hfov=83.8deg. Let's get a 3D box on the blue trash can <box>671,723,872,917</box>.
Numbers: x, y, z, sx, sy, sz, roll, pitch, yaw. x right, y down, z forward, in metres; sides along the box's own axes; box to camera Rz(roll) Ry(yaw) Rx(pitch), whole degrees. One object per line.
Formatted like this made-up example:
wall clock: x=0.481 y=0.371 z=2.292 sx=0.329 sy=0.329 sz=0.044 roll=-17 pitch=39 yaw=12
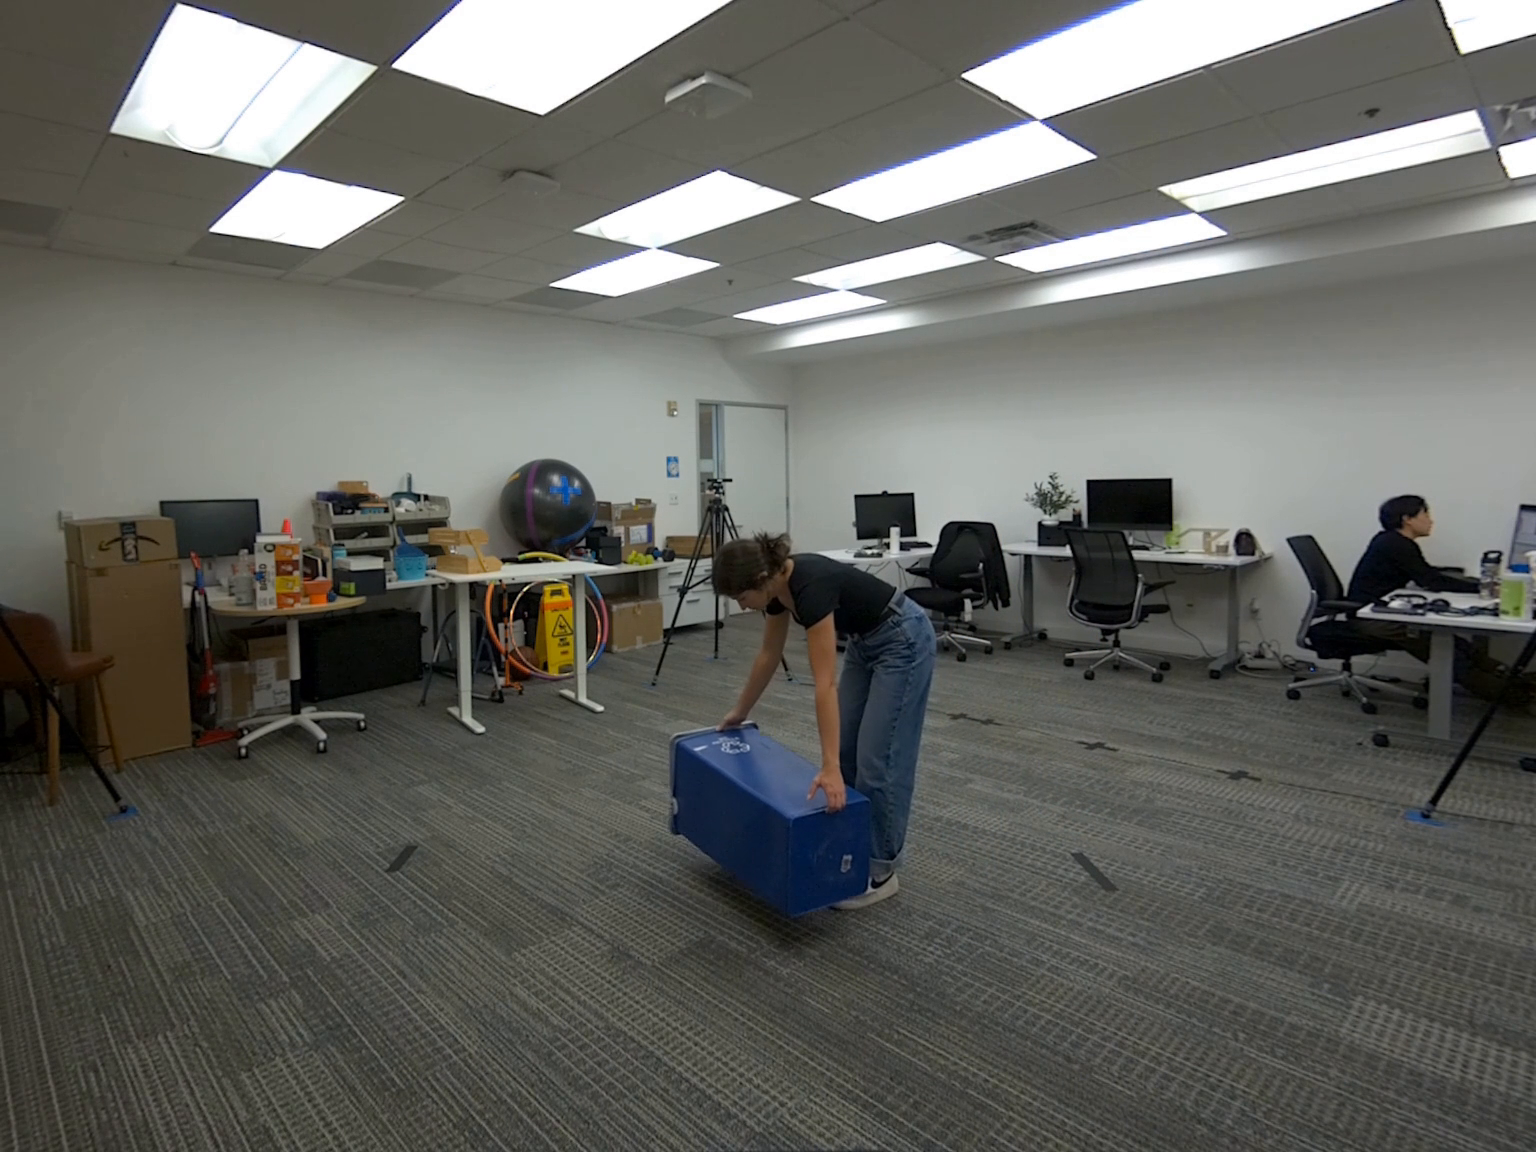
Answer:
blue trash can: x=-0.009 y=0.791 z=2.823 sx=0.369 sy=0.372 sz=0.736 roll=-2 pitch=9 yaw=-31
